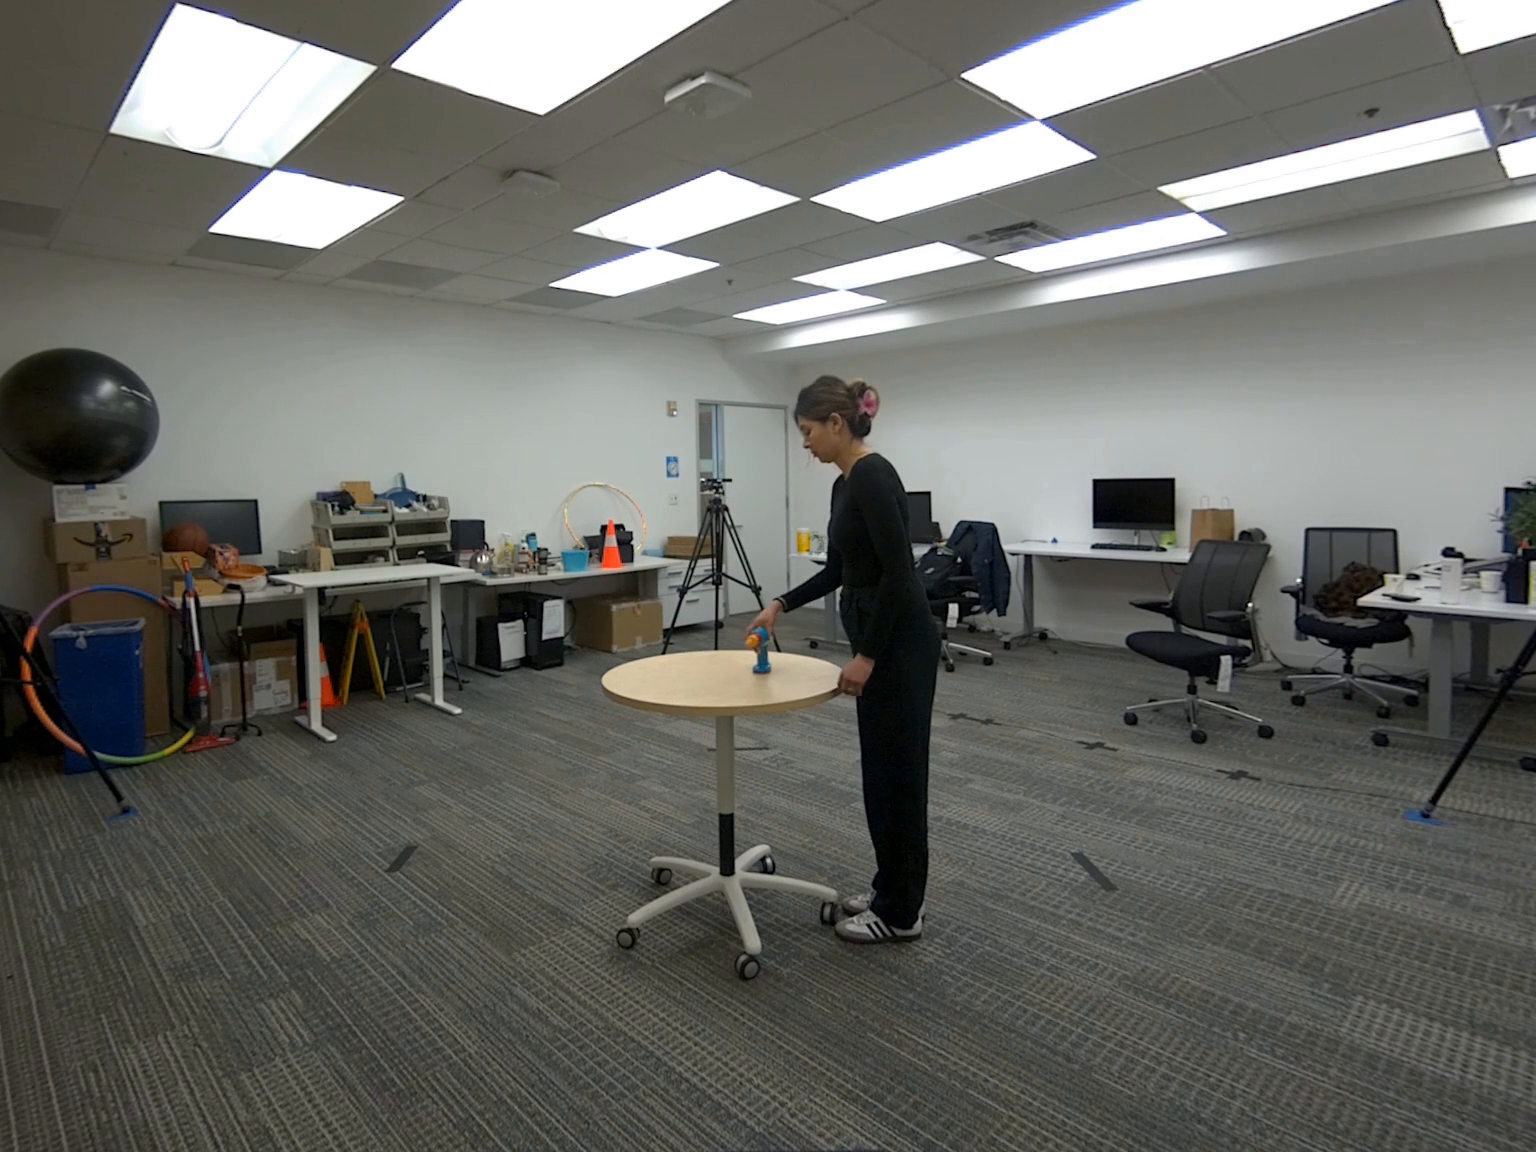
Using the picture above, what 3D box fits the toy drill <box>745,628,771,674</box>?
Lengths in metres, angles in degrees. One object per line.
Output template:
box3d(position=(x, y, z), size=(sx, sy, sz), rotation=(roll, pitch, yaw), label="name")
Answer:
box3d(position=(-0.037, 0.235, 2.686), size=(0.062, 0.145, 0.167), rotation=(3, 7, 24), label="toy drill")
